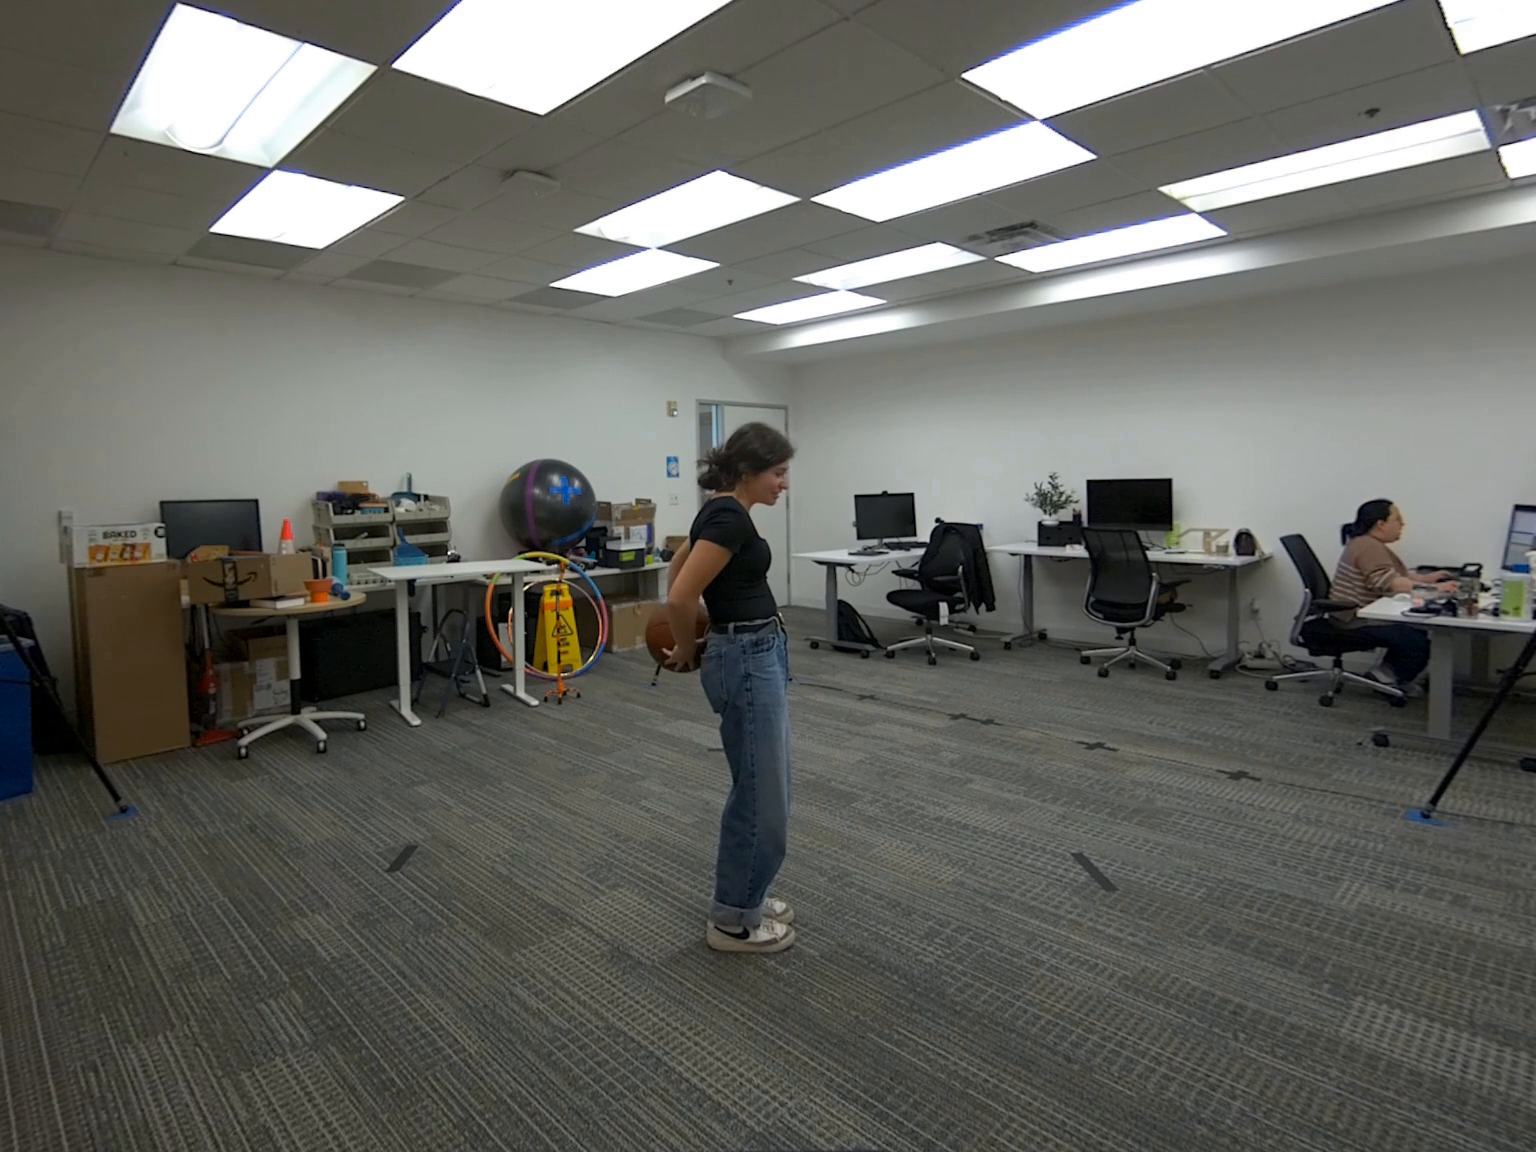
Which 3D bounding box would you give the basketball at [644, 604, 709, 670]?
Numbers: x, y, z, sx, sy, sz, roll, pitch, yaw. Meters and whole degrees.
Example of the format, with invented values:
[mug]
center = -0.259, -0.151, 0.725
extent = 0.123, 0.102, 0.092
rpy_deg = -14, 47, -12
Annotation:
[basketball]
center = -0.271, 0.184, 2.734
extent = 0.236, 0.235, 0.237
rpy_deg = -1, 5, -2
